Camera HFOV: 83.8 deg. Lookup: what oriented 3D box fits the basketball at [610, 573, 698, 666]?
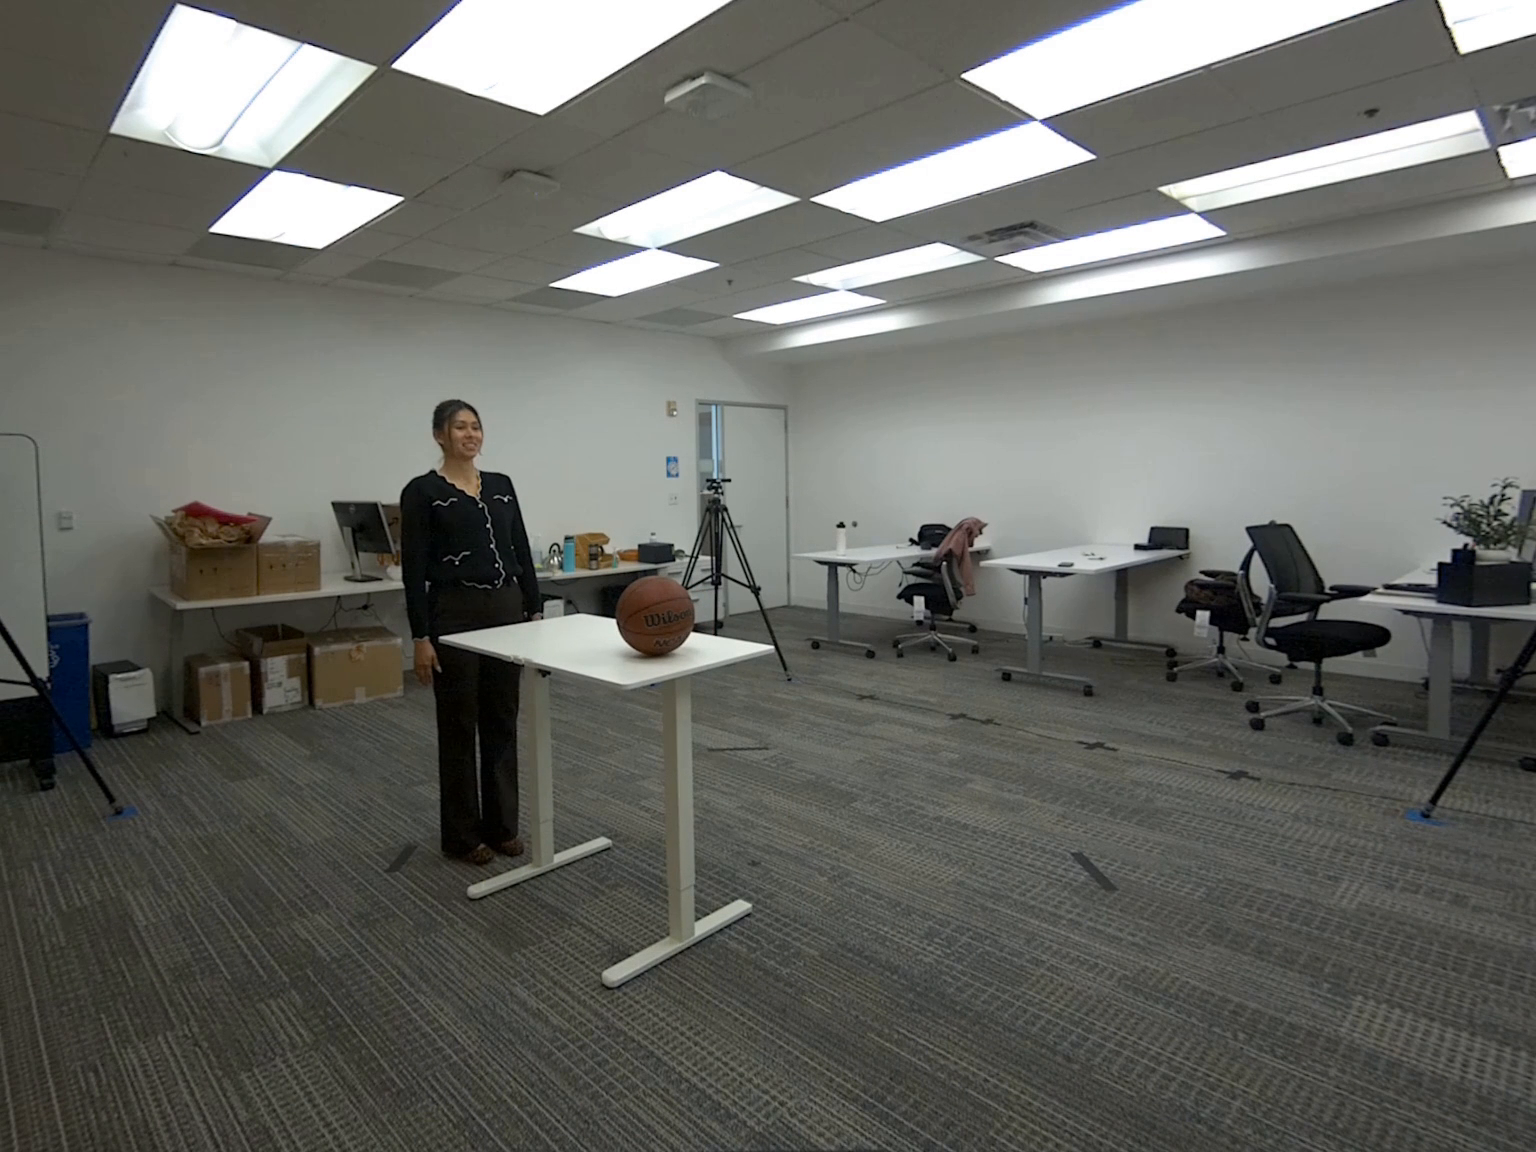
[{"bbox_3d":[-0.335,0.122,2.546,0.236,0.235,0.237,-1,5,-2],"label":"basketball"}]
